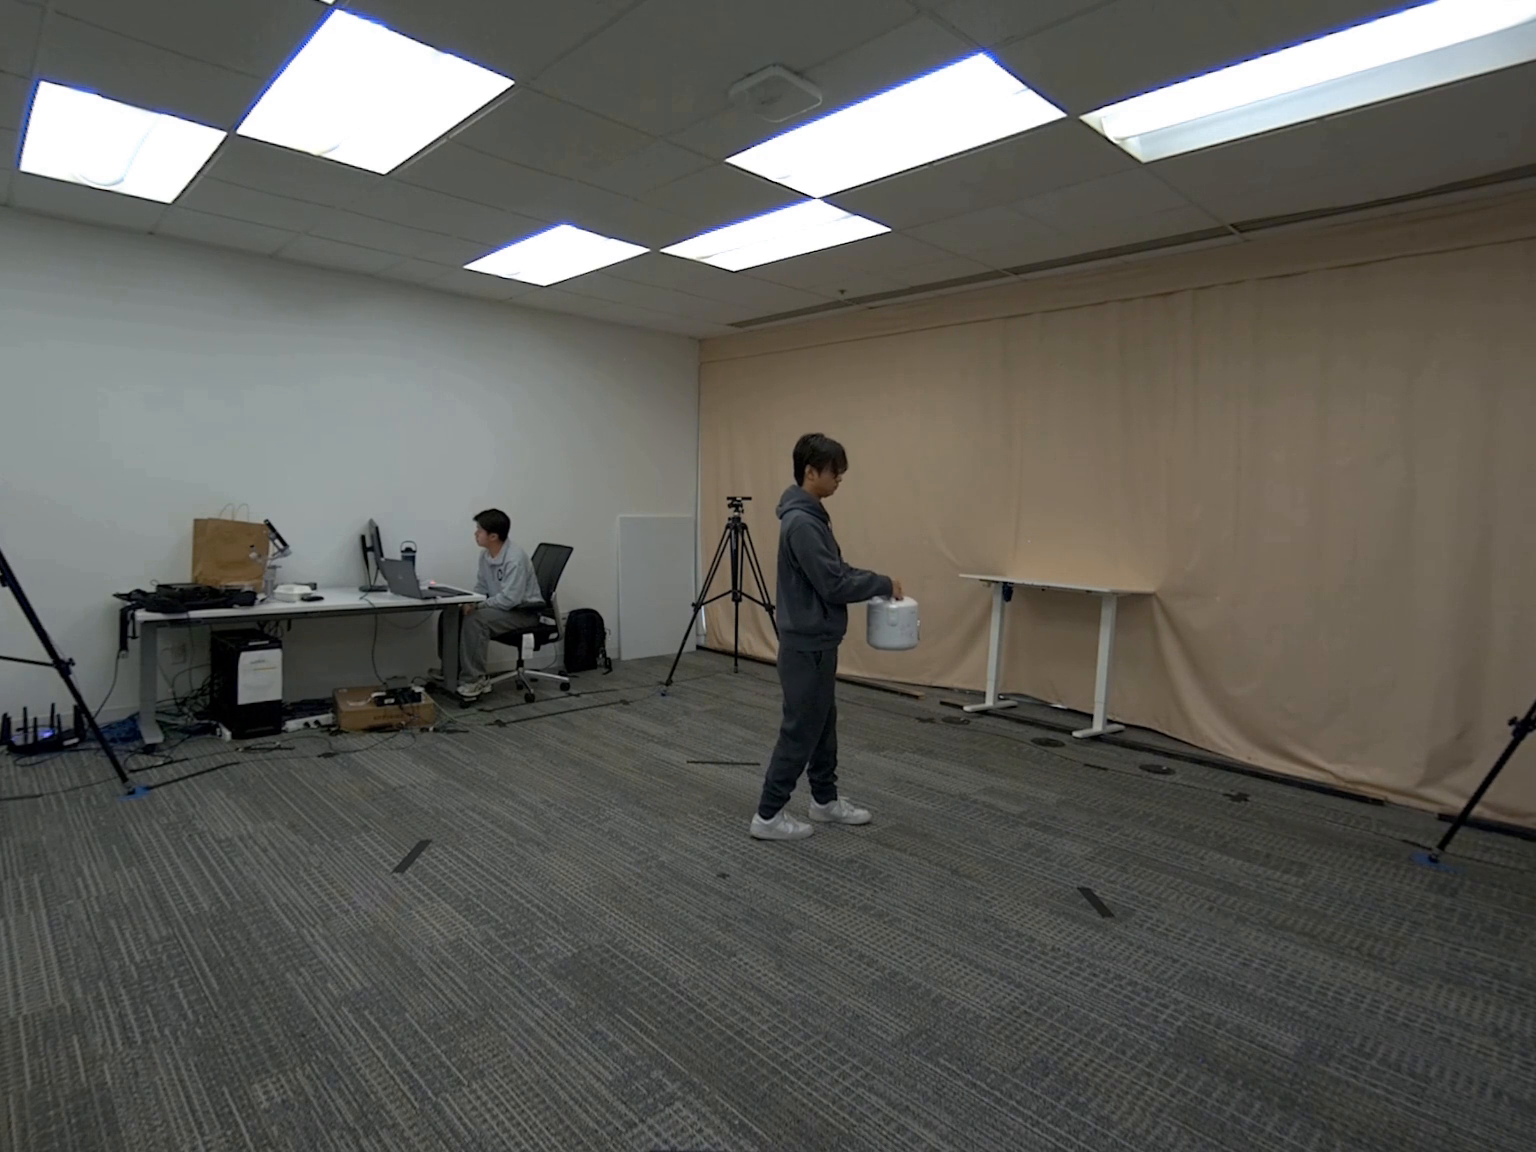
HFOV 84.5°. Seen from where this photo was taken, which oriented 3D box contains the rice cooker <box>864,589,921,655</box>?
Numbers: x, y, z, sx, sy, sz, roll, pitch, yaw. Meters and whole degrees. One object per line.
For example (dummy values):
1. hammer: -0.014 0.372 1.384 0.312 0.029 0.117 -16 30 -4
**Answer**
1. rice cooker: 0.513 0.182 3.491 0.219 0.232 0.219 0 4 11
